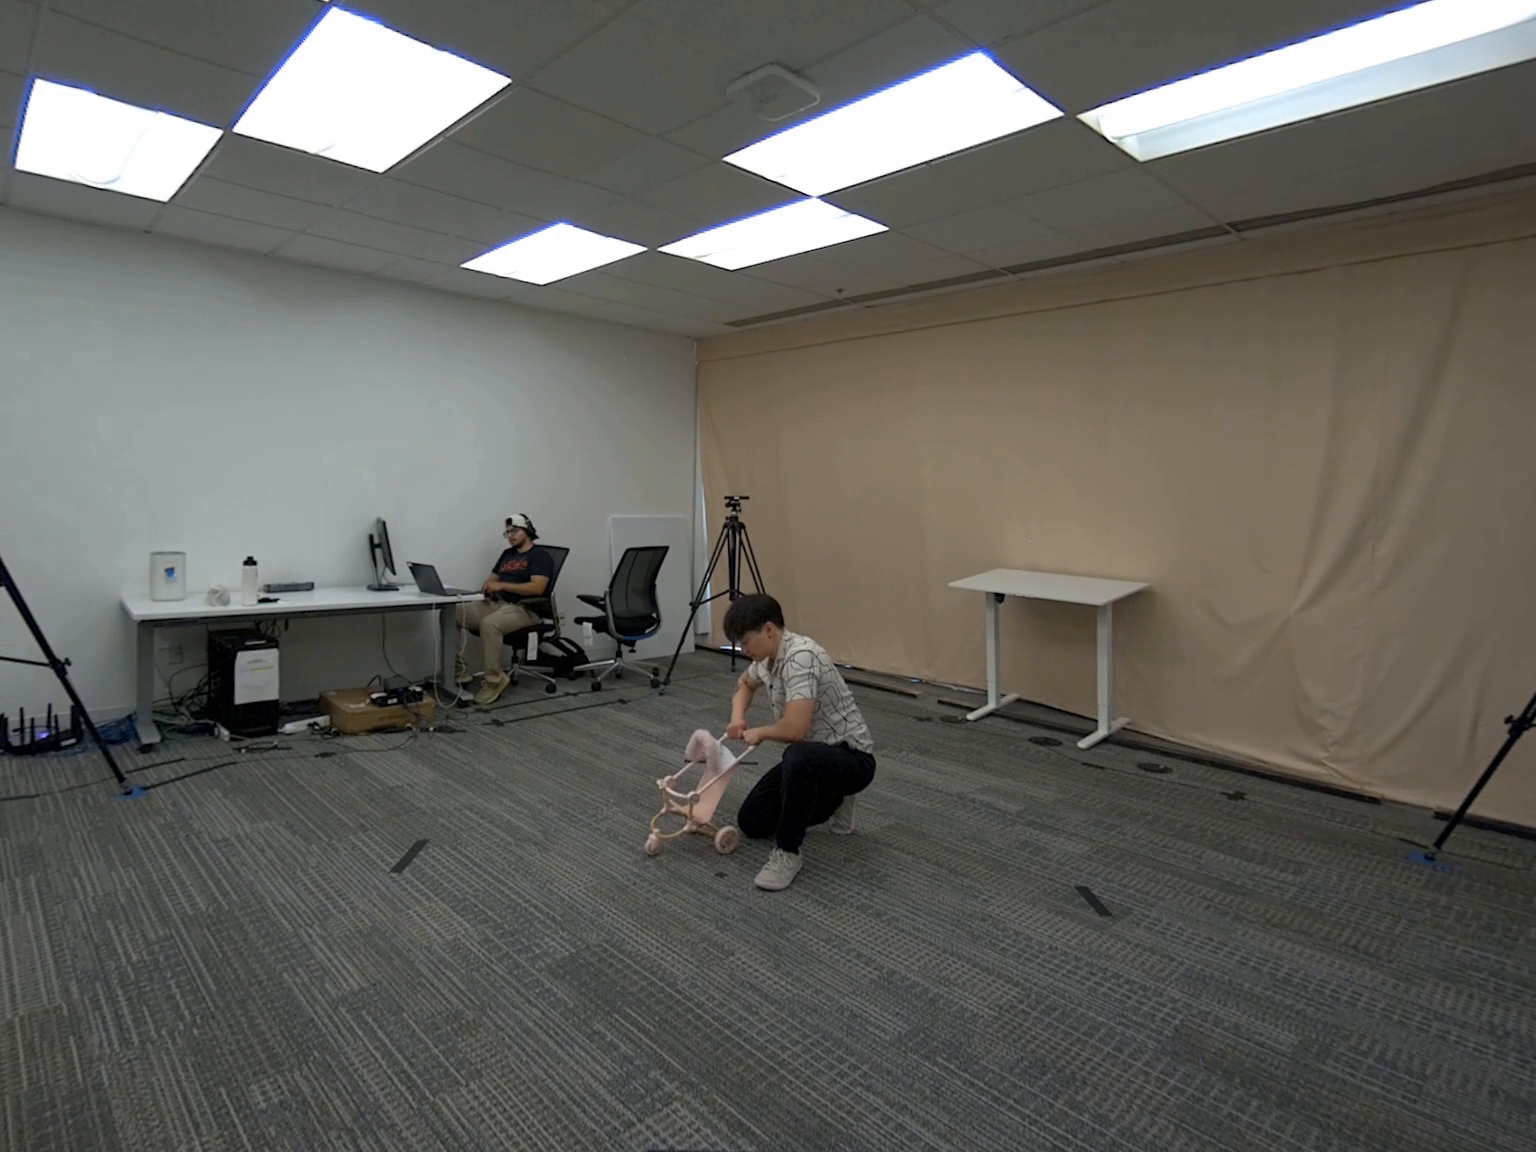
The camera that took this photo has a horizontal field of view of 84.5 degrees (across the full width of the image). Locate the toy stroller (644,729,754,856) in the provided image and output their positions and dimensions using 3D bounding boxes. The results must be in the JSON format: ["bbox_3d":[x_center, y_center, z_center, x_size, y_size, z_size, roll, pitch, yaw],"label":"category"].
[{"bbox_3d":[-0.290,0.847,3.342,0.333,0.536,0.288,18,-3,-30],"label":"toy stroller"}]
